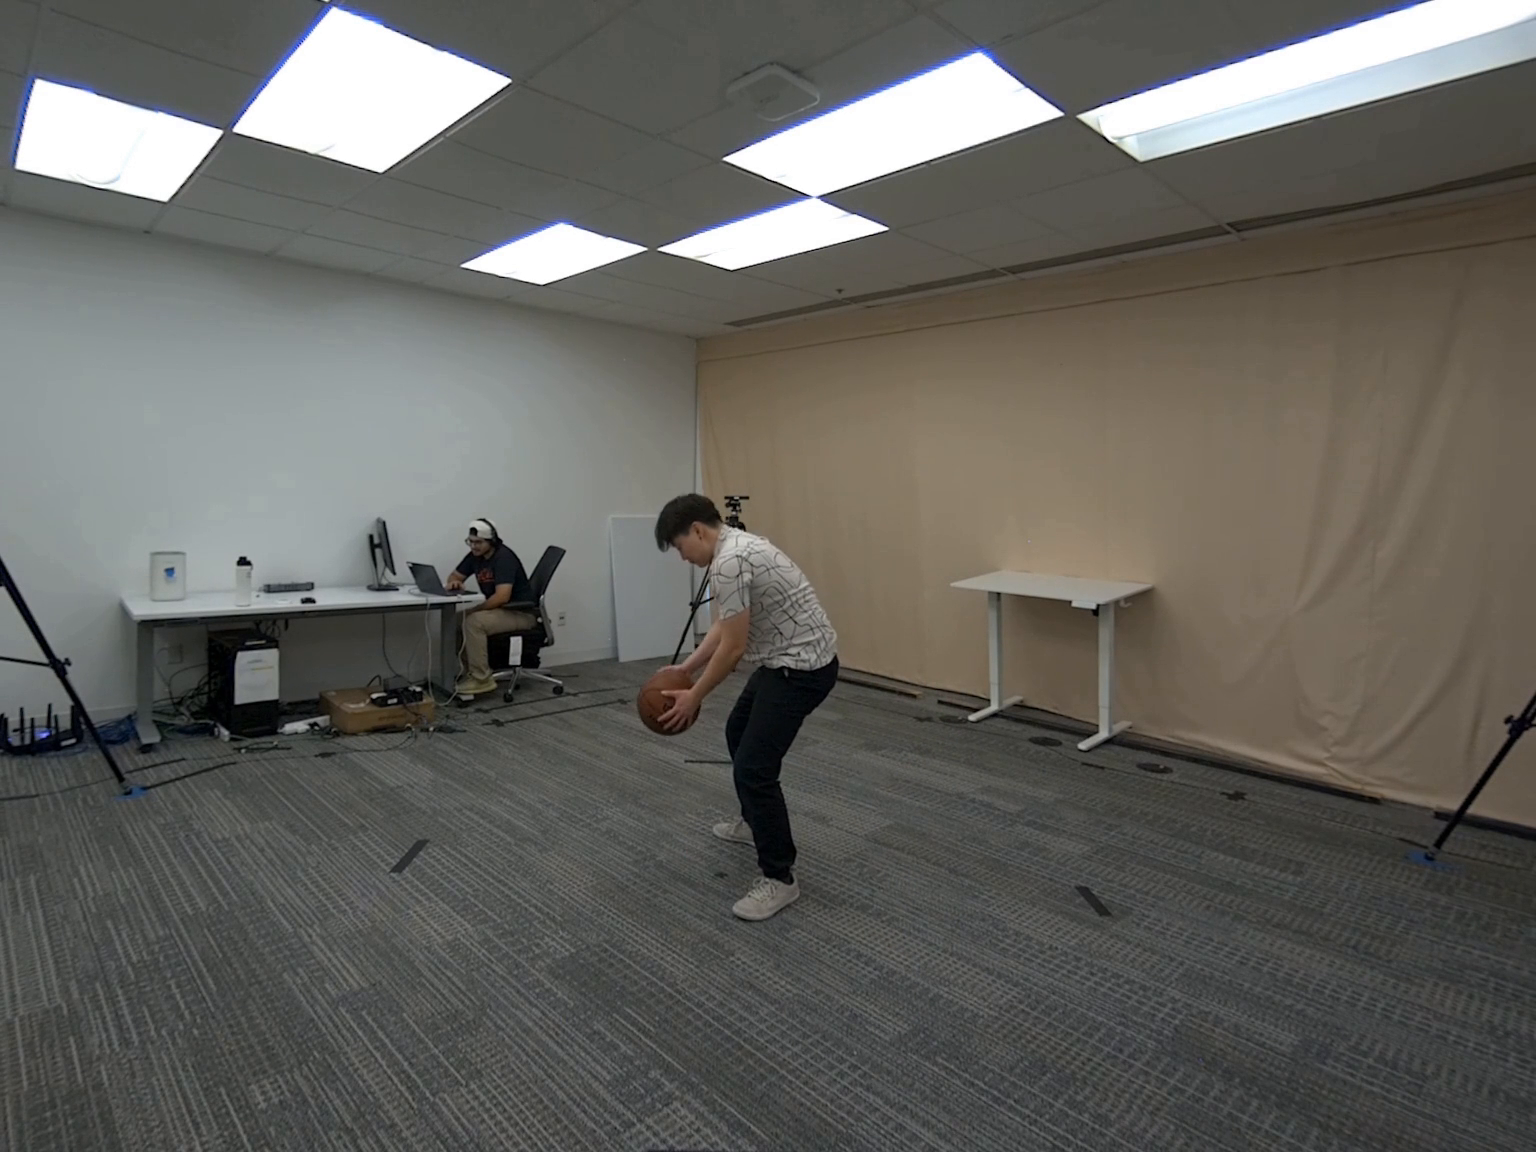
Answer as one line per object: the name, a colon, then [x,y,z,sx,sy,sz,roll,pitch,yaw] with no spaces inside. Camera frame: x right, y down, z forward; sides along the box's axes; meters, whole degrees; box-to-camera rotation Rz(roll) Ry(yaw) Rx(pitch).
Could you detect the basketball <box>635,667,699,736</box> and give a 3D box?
basketball: [-0.366,0.475,3.130,0.236,0.235,0.237,1,4,-1]
